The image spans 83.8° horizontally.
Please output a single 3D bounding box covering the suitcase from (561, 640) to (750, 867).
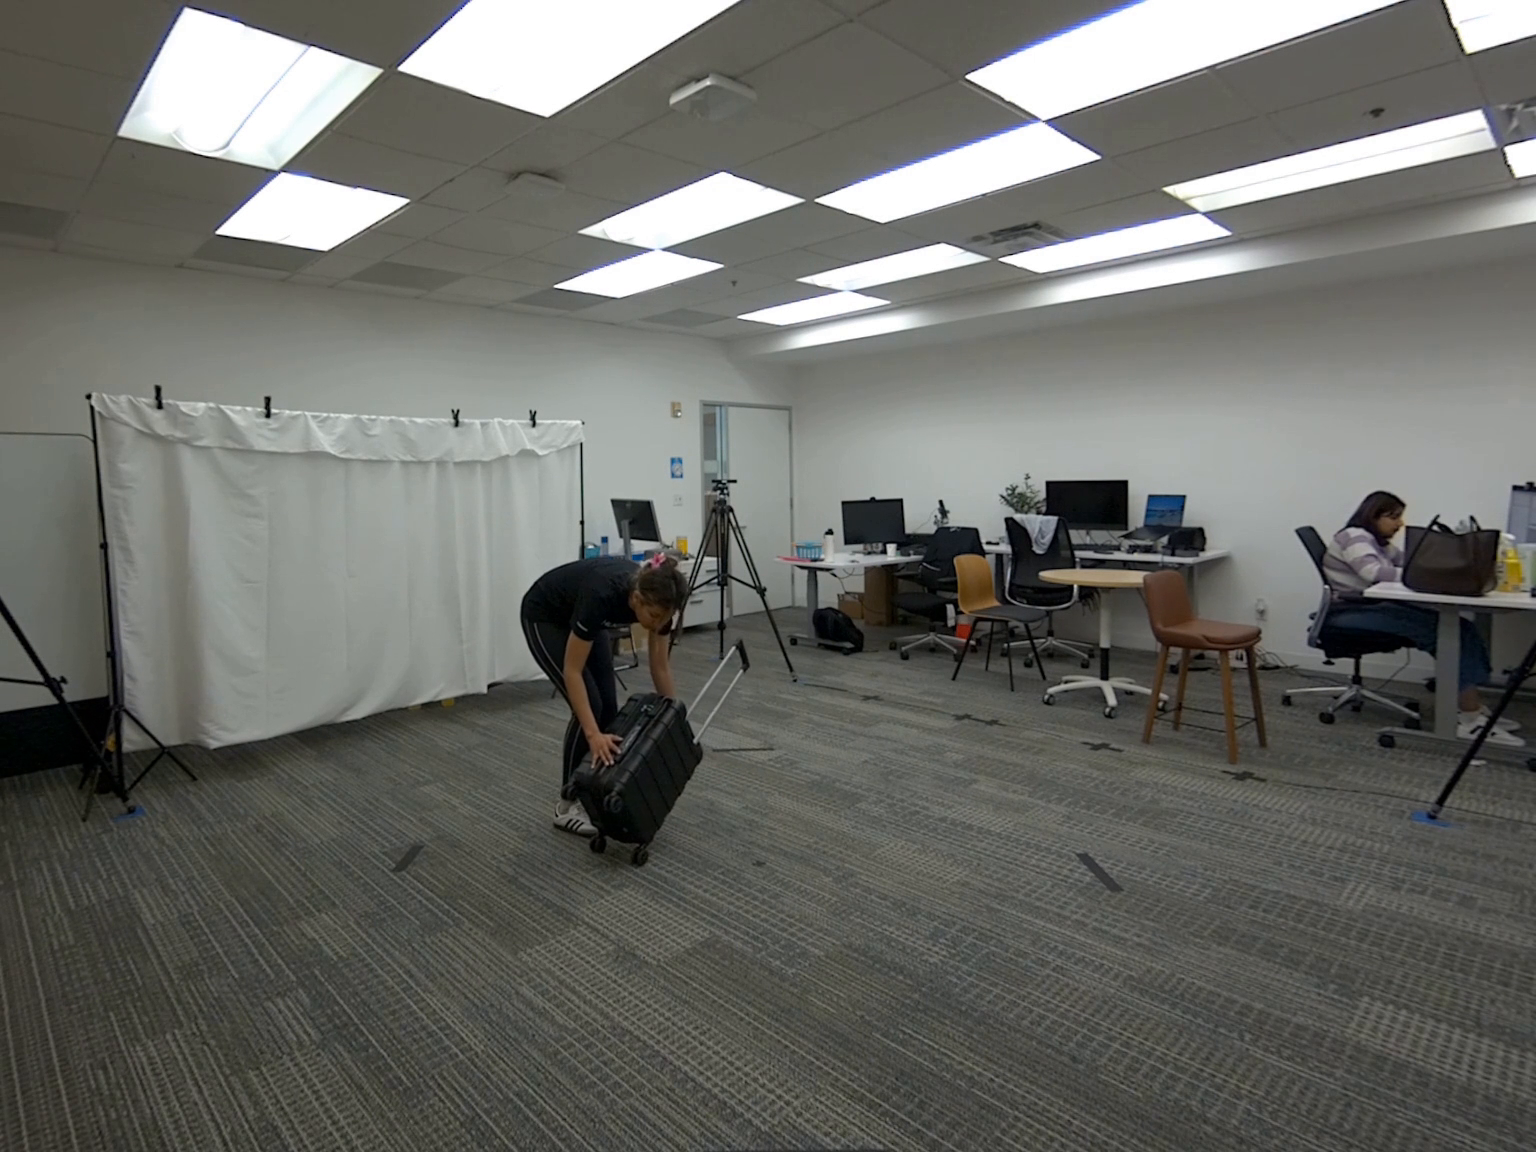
[{"bbox_3d":[-0.405,0.617,3.407,0.264,0.372,0.983,-1,36,32],"label":"suitcase"}]
